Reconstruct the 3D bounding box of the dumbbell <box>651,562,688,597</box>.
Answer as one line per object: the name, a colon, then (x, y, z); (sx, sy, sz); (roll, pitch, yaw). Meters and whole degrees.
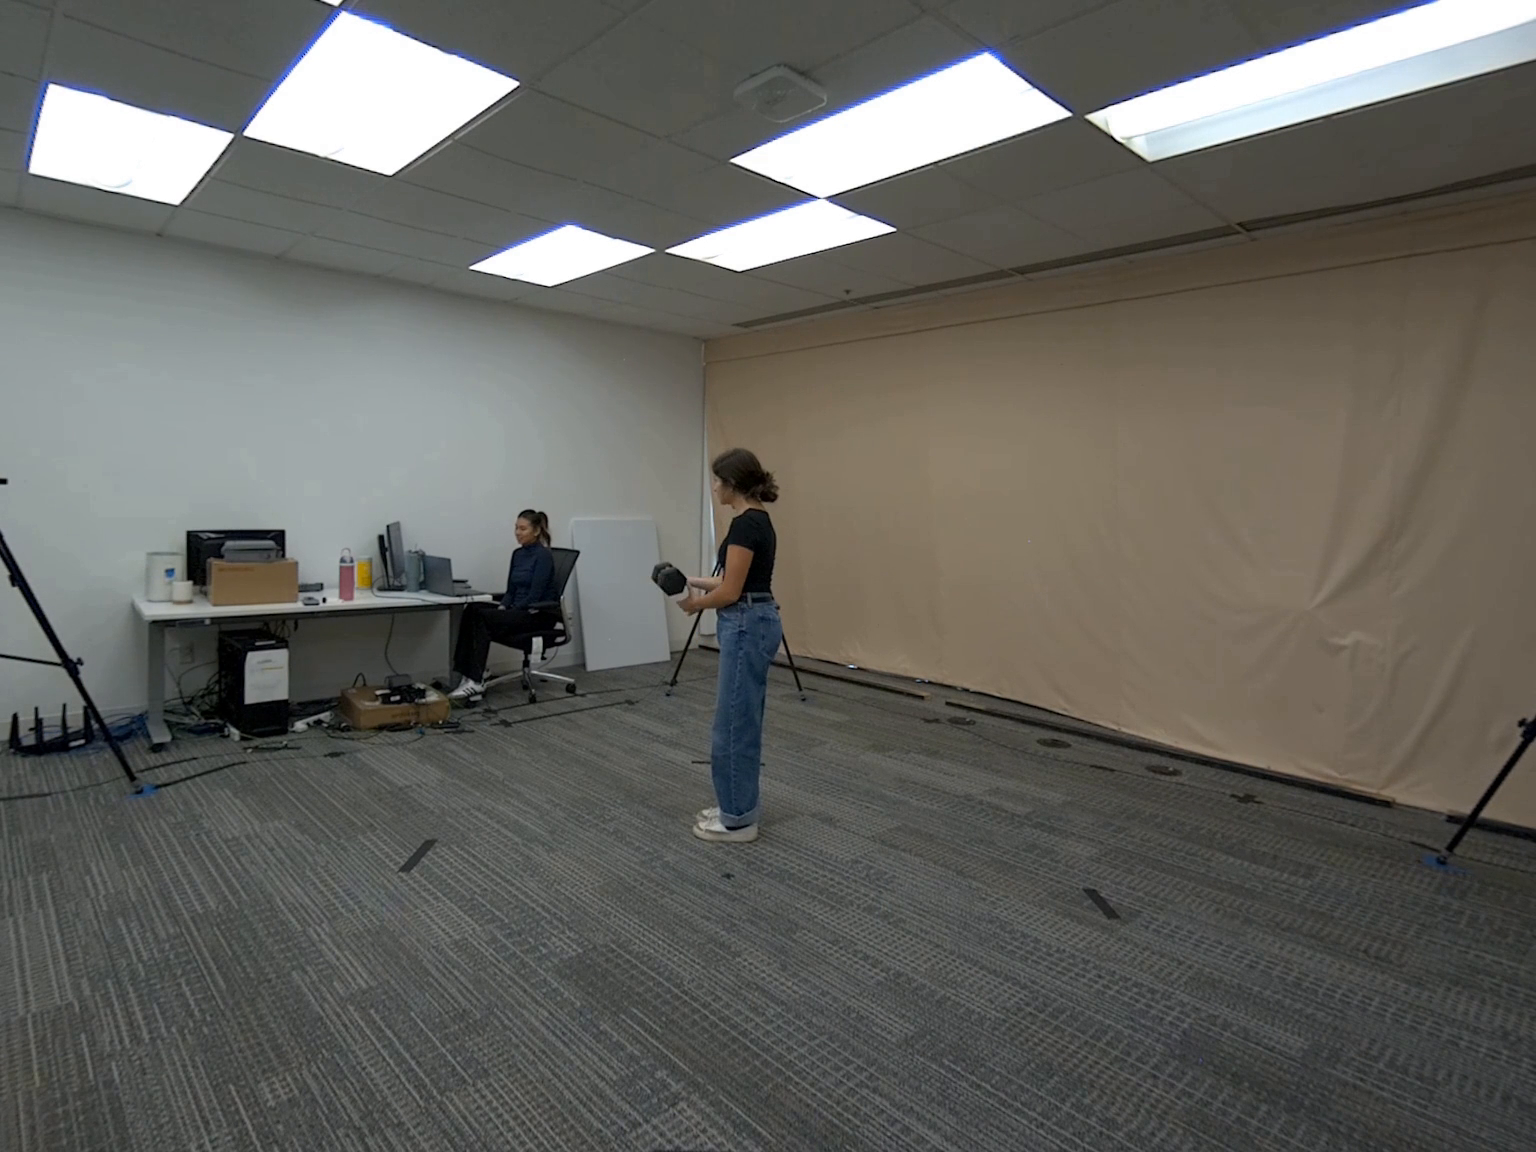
dumbbell: (-0.423, 0.008, 3.617); (0.122, 0.108, 0.298); (-14, 10, -13)
